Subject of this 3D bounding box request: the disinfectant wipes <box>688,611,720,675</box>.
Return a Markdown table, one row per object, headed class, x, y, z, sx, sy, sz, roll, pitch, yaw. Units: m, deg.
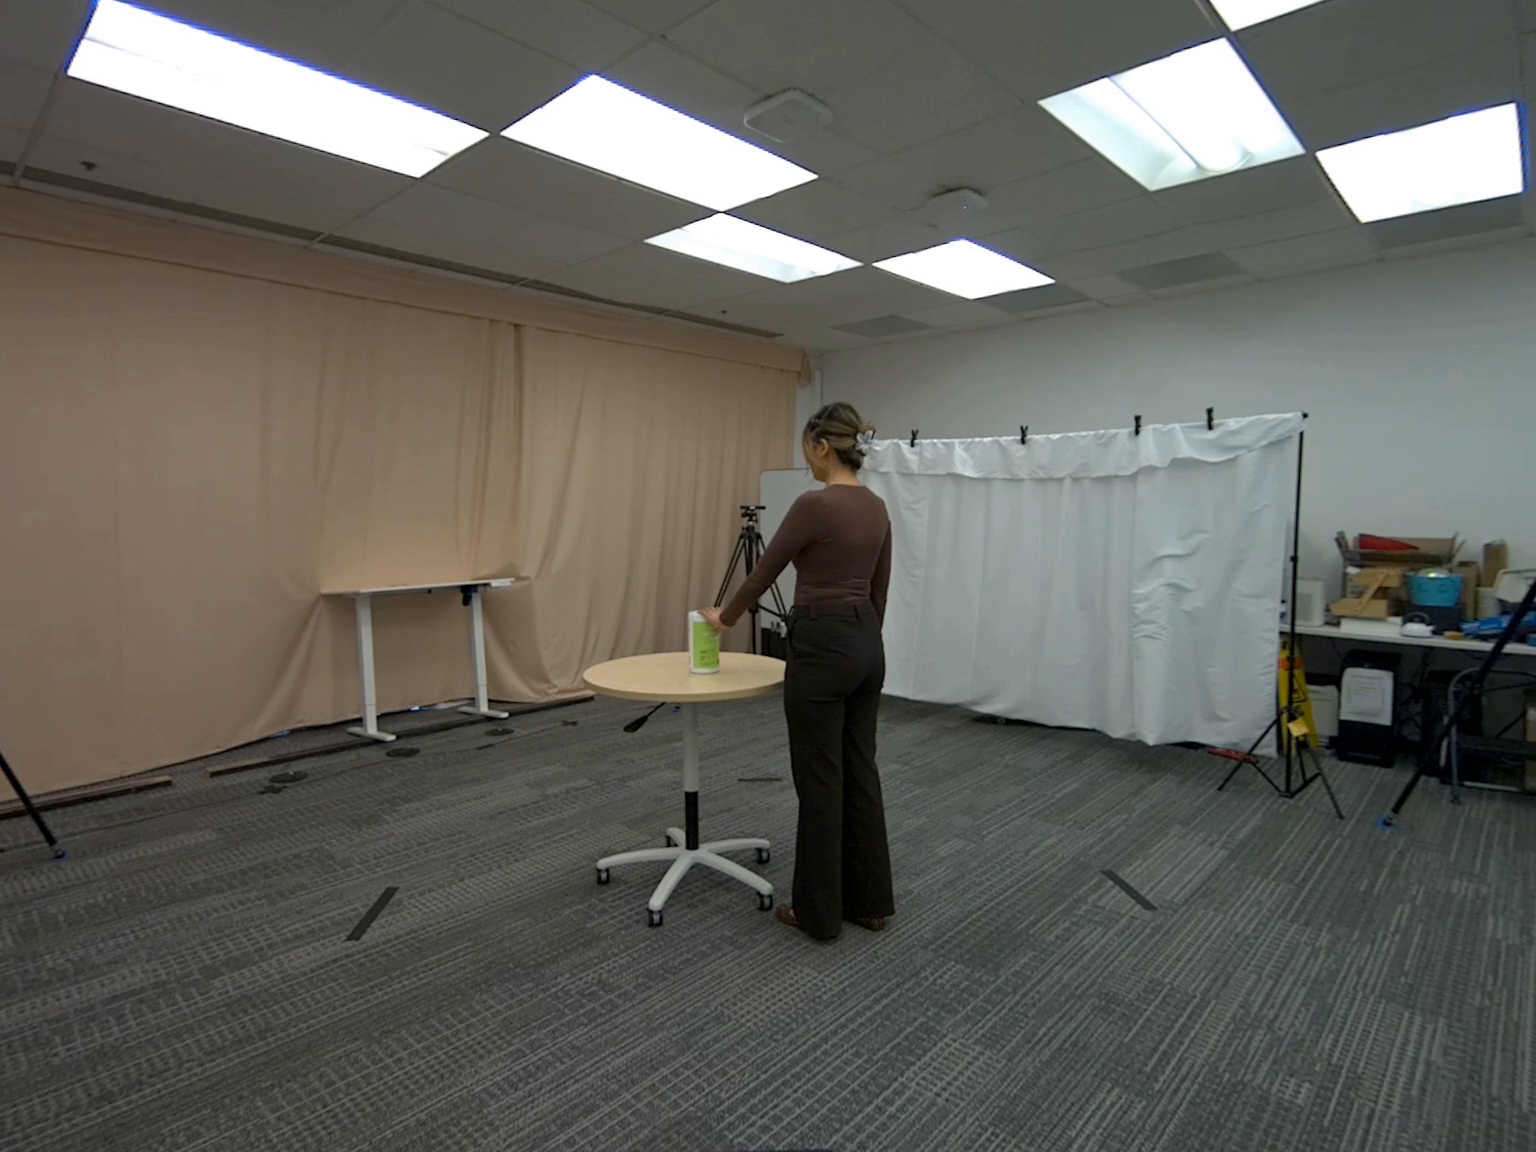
| class | x | y | z | sx | sy | sz | roll | pitch | yaw |
| --- | --- | --- | --- | --- | --- | --- | --- | --- | --- |
| disinfectant wipes | -0.229 | 0.240 | 3.023 | 0.118 | 0.217 | 0.118 | -1 | 4 | -2 |
